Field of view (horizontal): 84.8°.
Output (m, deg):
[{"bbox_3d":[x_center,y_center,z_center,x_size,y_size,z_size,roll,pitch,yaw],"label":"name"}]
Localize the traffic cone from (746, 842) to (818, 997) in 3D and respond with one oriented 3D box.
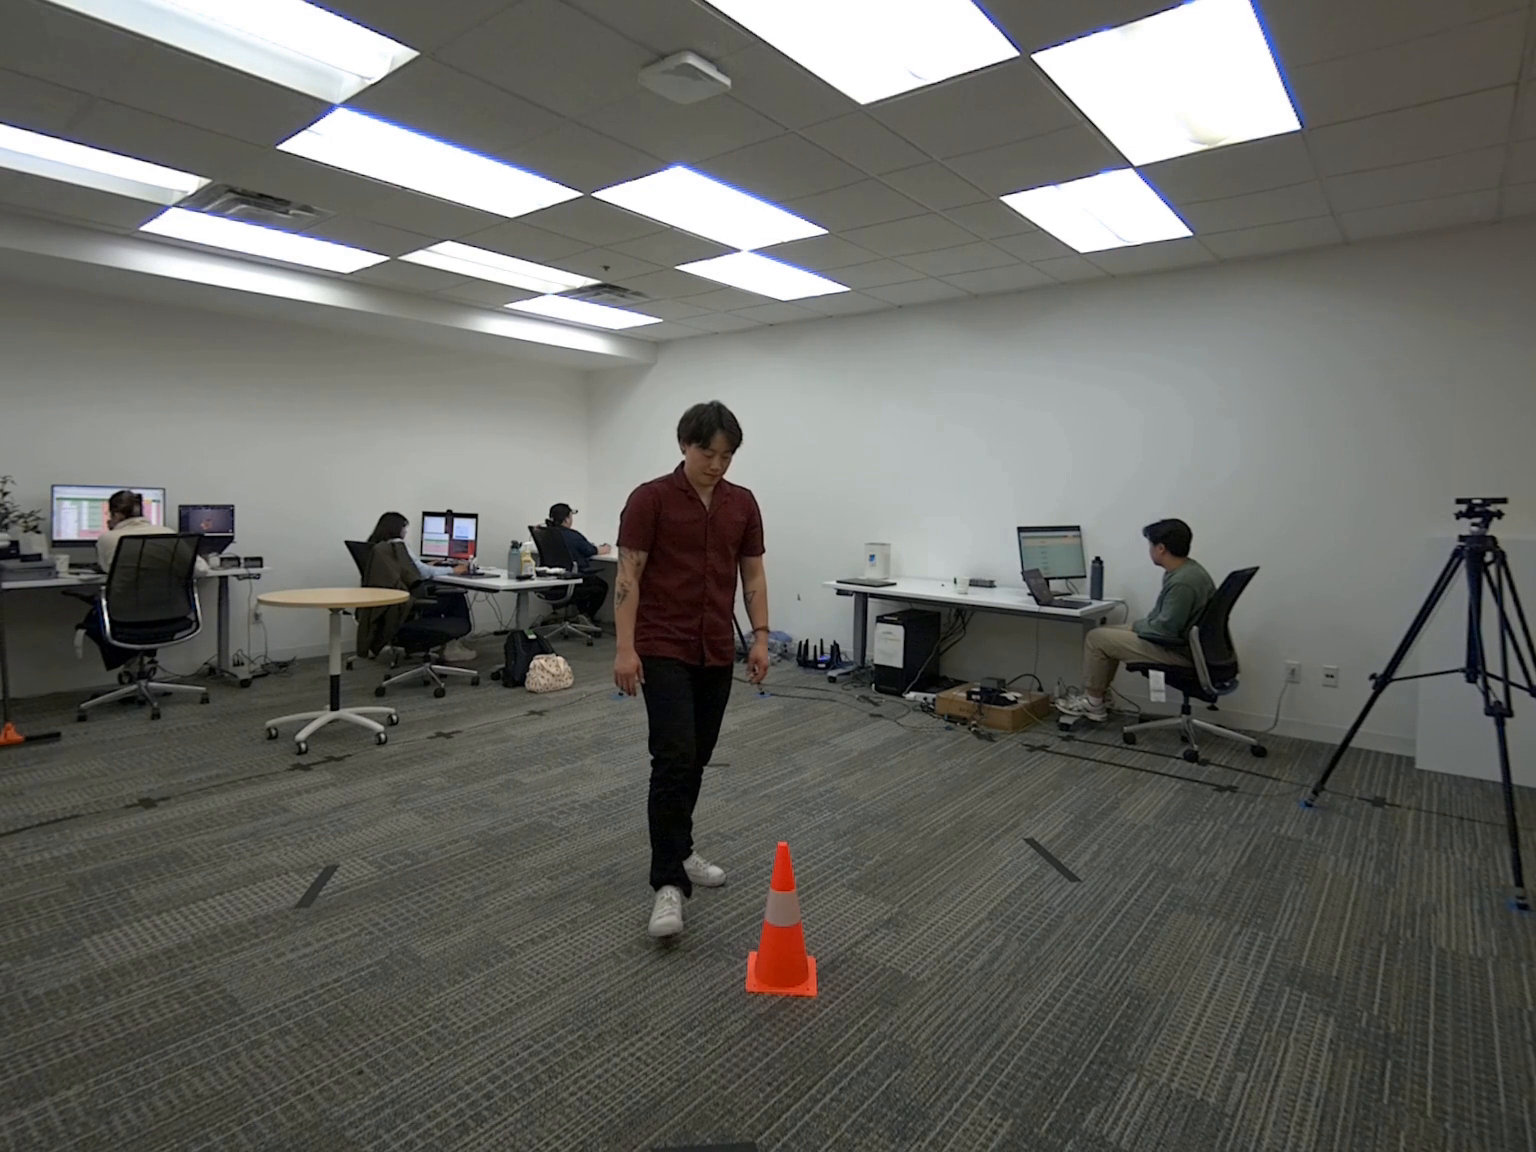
[{"bbox_3d":[0.043,0.955,2.429,0.207,0.382,0.202,2,3,6],"label":"traffic cone"}]
